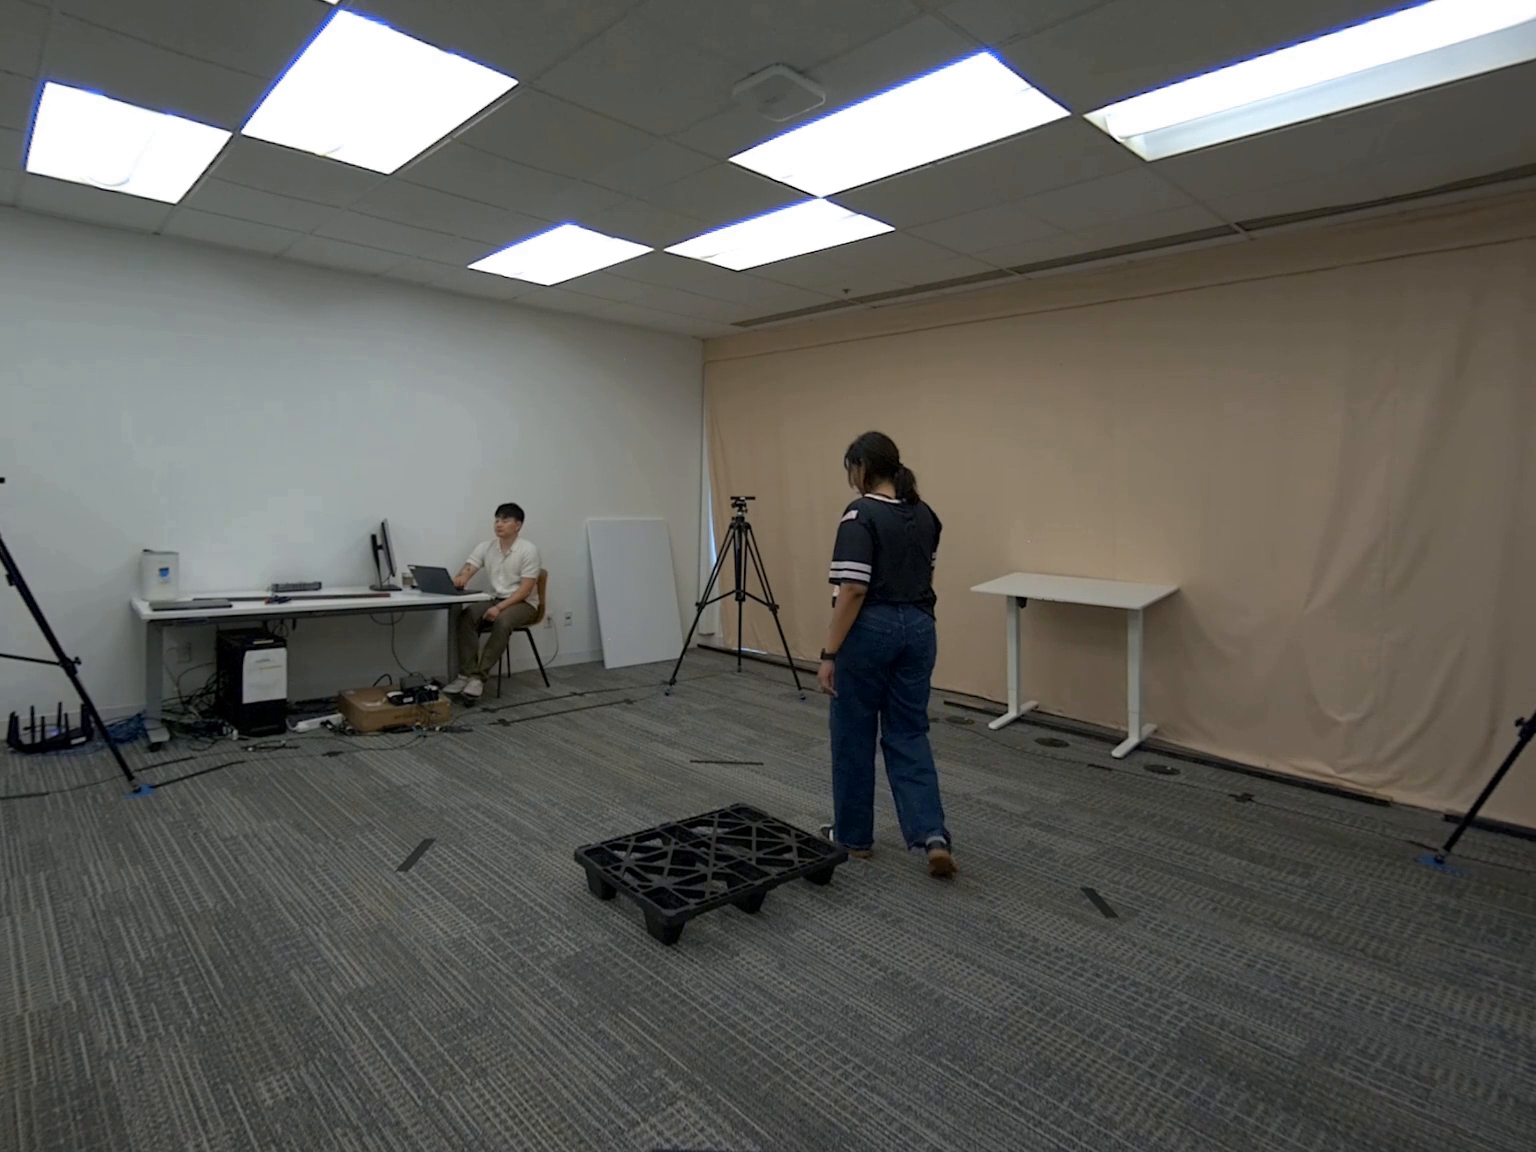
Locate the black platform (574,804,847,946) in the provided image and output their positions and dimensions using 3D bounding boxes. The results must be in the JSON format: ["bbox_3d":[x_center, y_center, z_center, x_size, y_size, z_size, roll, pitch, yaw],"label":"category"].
[{"bbox_3d":[-0.214,1.048,3.003,0.787,0.143,0.620,-3,6,-41],"label":"black platform"}]
